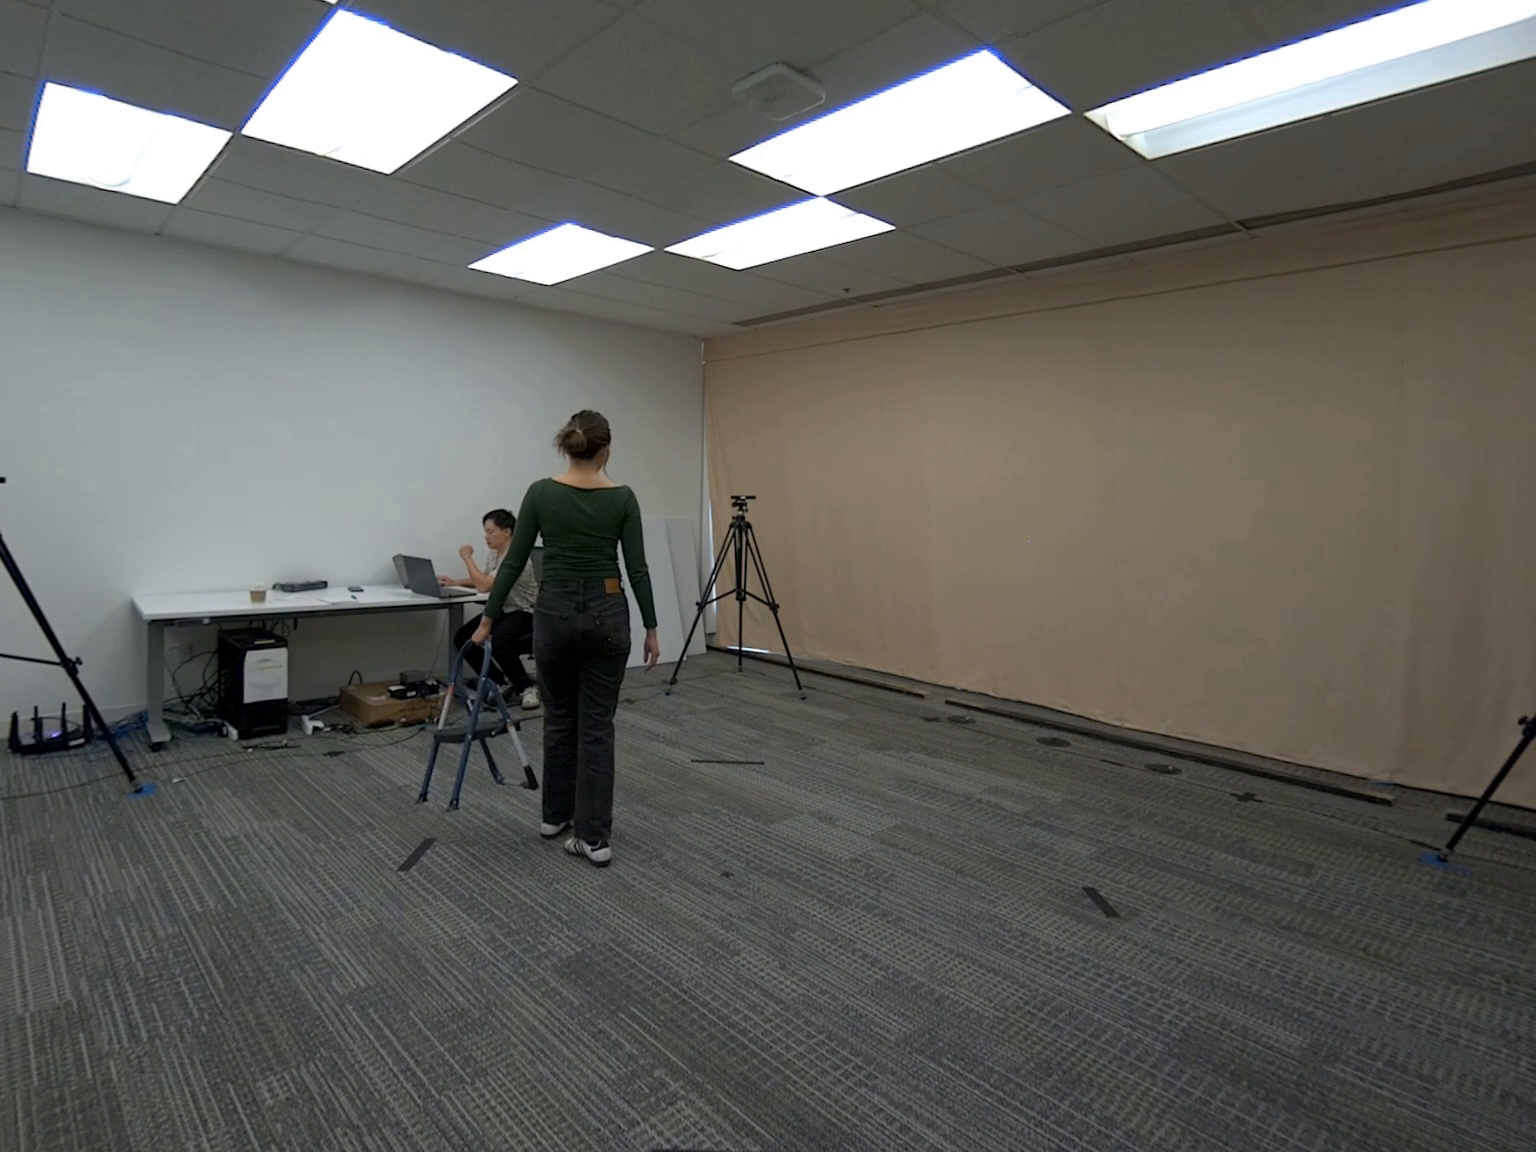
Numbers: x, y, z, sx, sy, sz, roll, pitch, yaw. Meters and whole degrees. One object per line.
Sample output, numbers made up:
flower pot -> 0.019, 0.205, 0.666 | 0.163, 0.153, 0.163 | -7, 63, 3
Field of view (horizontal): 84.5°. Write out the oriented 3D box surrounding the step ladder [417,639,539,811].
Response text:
step ladder -> -1.172, 0.554, 3.263 | 0.342, 0.609, 0.438 | -4, -6, -38
